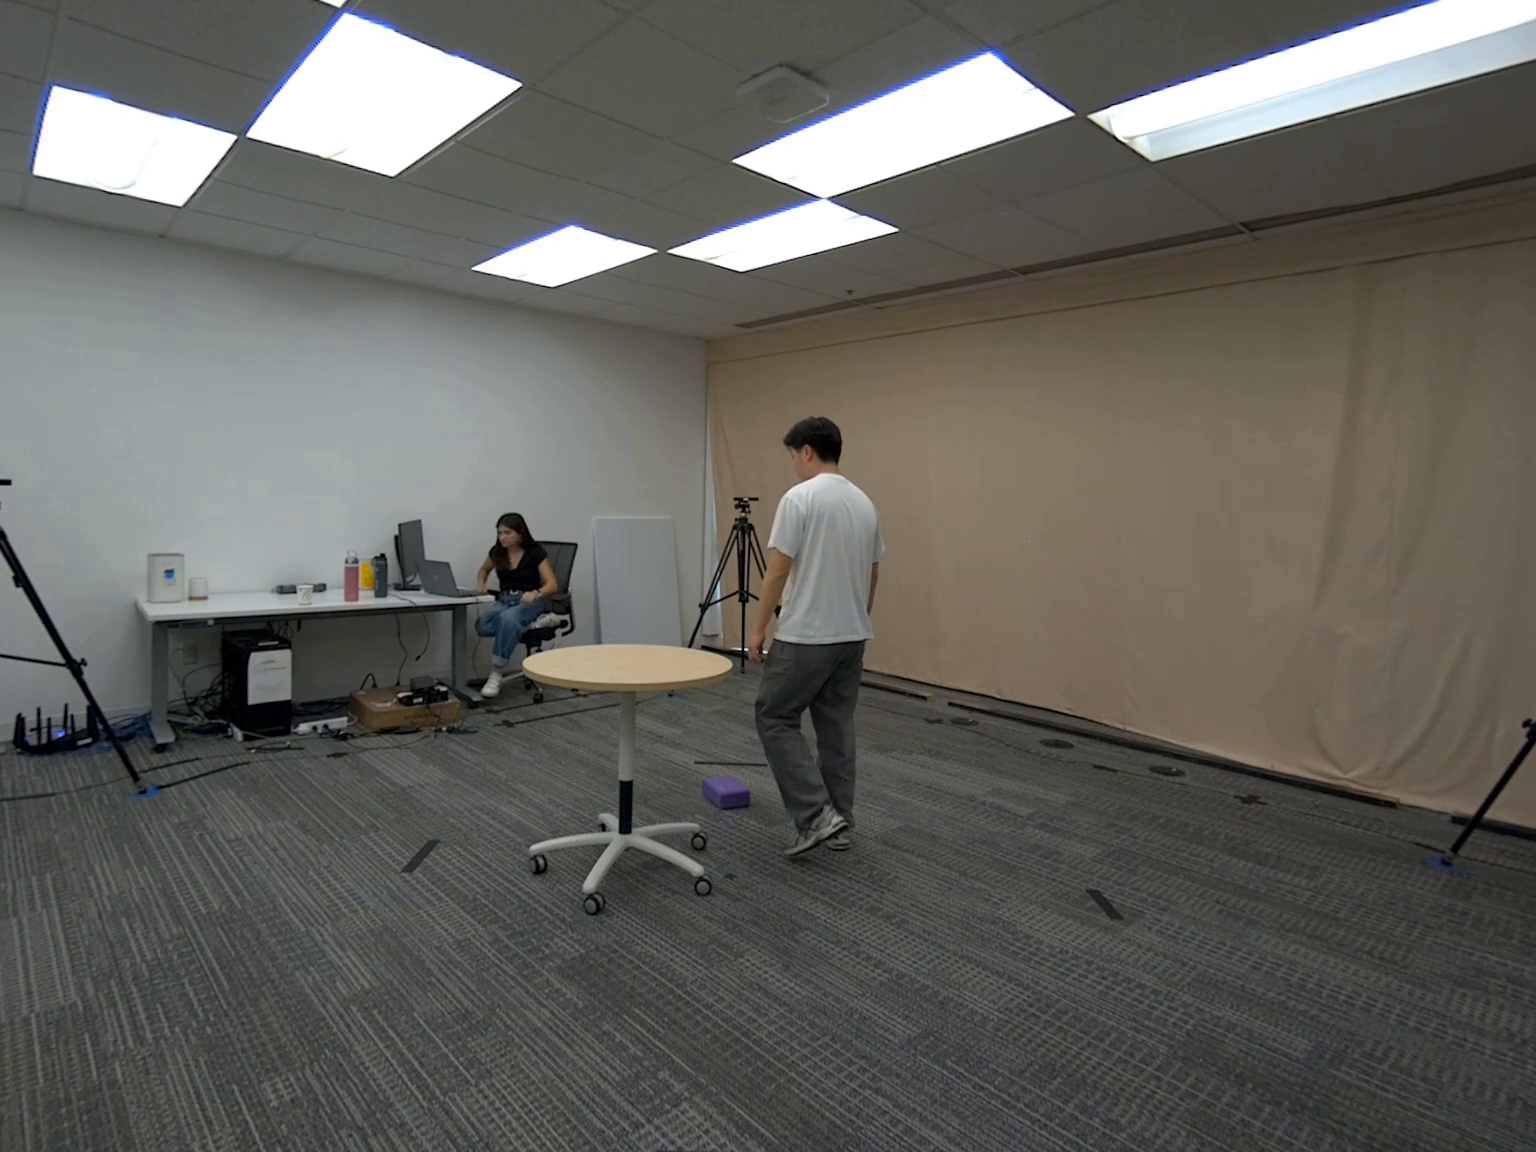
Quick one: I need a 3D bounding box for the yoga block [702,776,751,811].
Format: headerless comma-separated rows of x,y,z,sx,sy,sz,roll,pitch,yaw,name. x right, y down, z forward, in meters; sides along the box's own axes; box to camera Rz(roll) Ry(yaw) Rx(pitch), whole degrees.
-0.206,1.003,3.893,0.146,0.076,0.234,-1,5,-26,yoga block
